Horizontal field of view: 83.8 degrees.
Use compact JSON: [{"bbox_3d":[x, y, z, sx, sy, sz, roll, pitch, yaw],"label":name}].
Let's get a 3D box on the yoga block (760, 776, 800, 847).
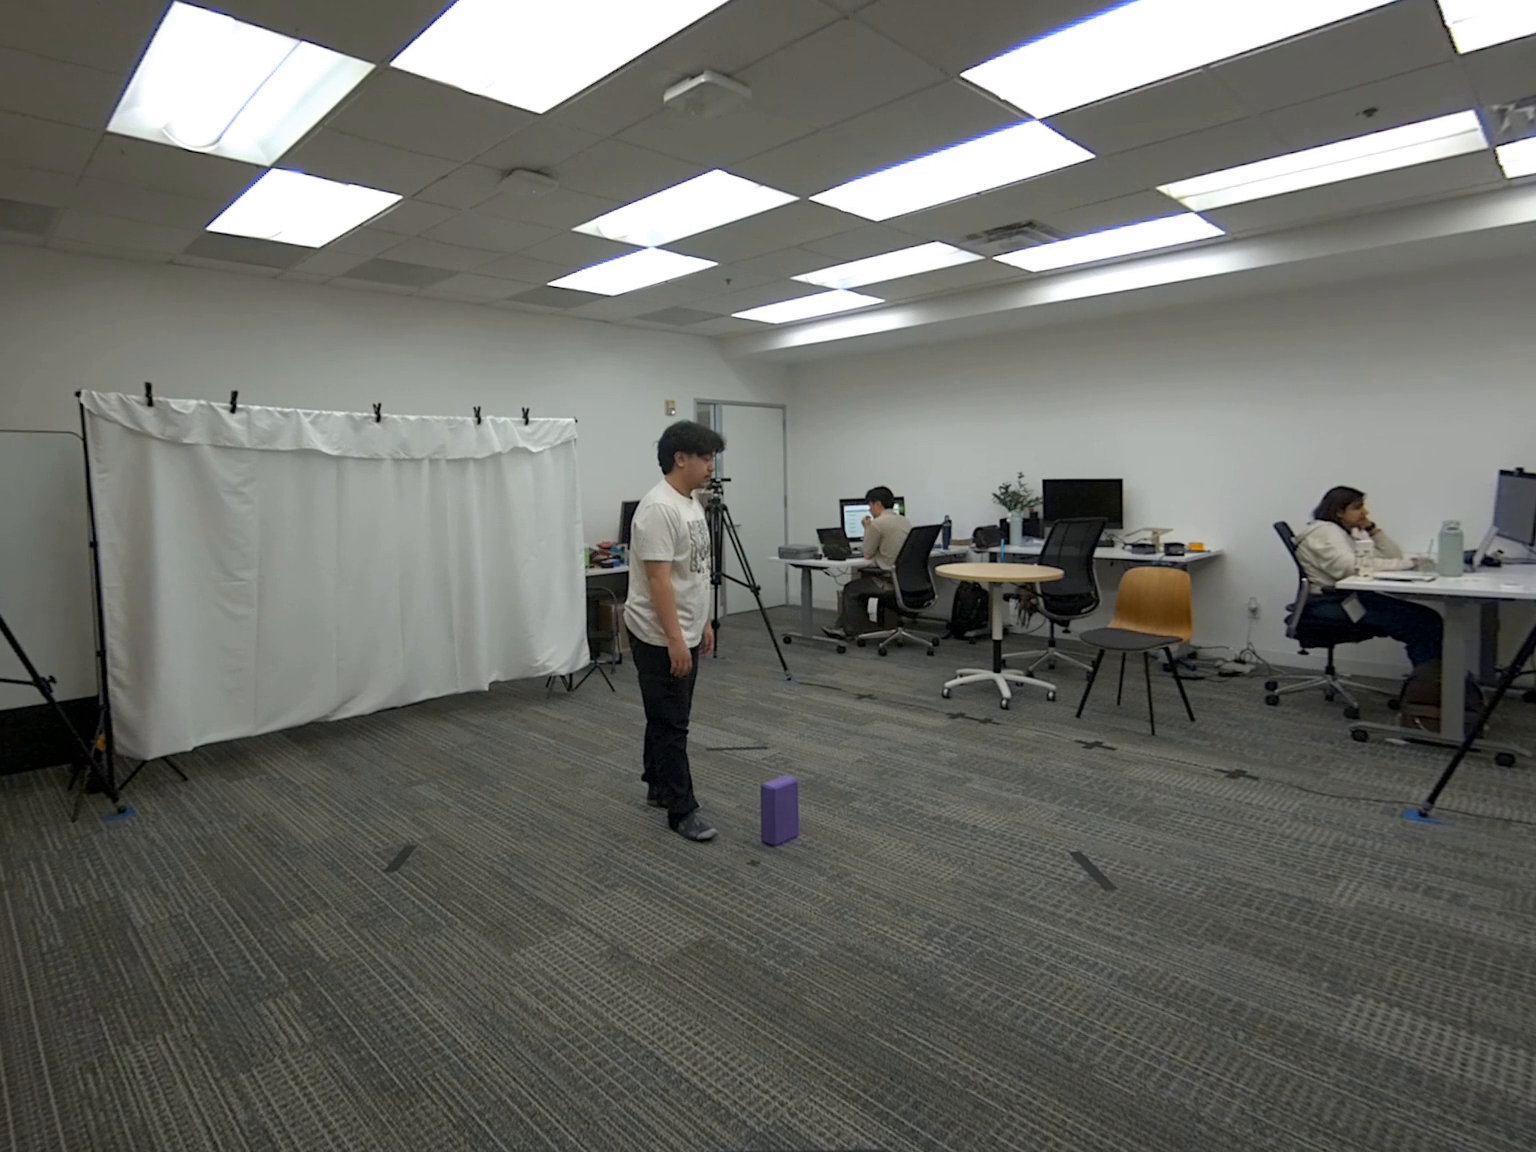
[{"bbox_3d":[0.049,0.903,3.302,0.145,0.229,0.079,-4,4,-44],"label":"yoga block"}]
